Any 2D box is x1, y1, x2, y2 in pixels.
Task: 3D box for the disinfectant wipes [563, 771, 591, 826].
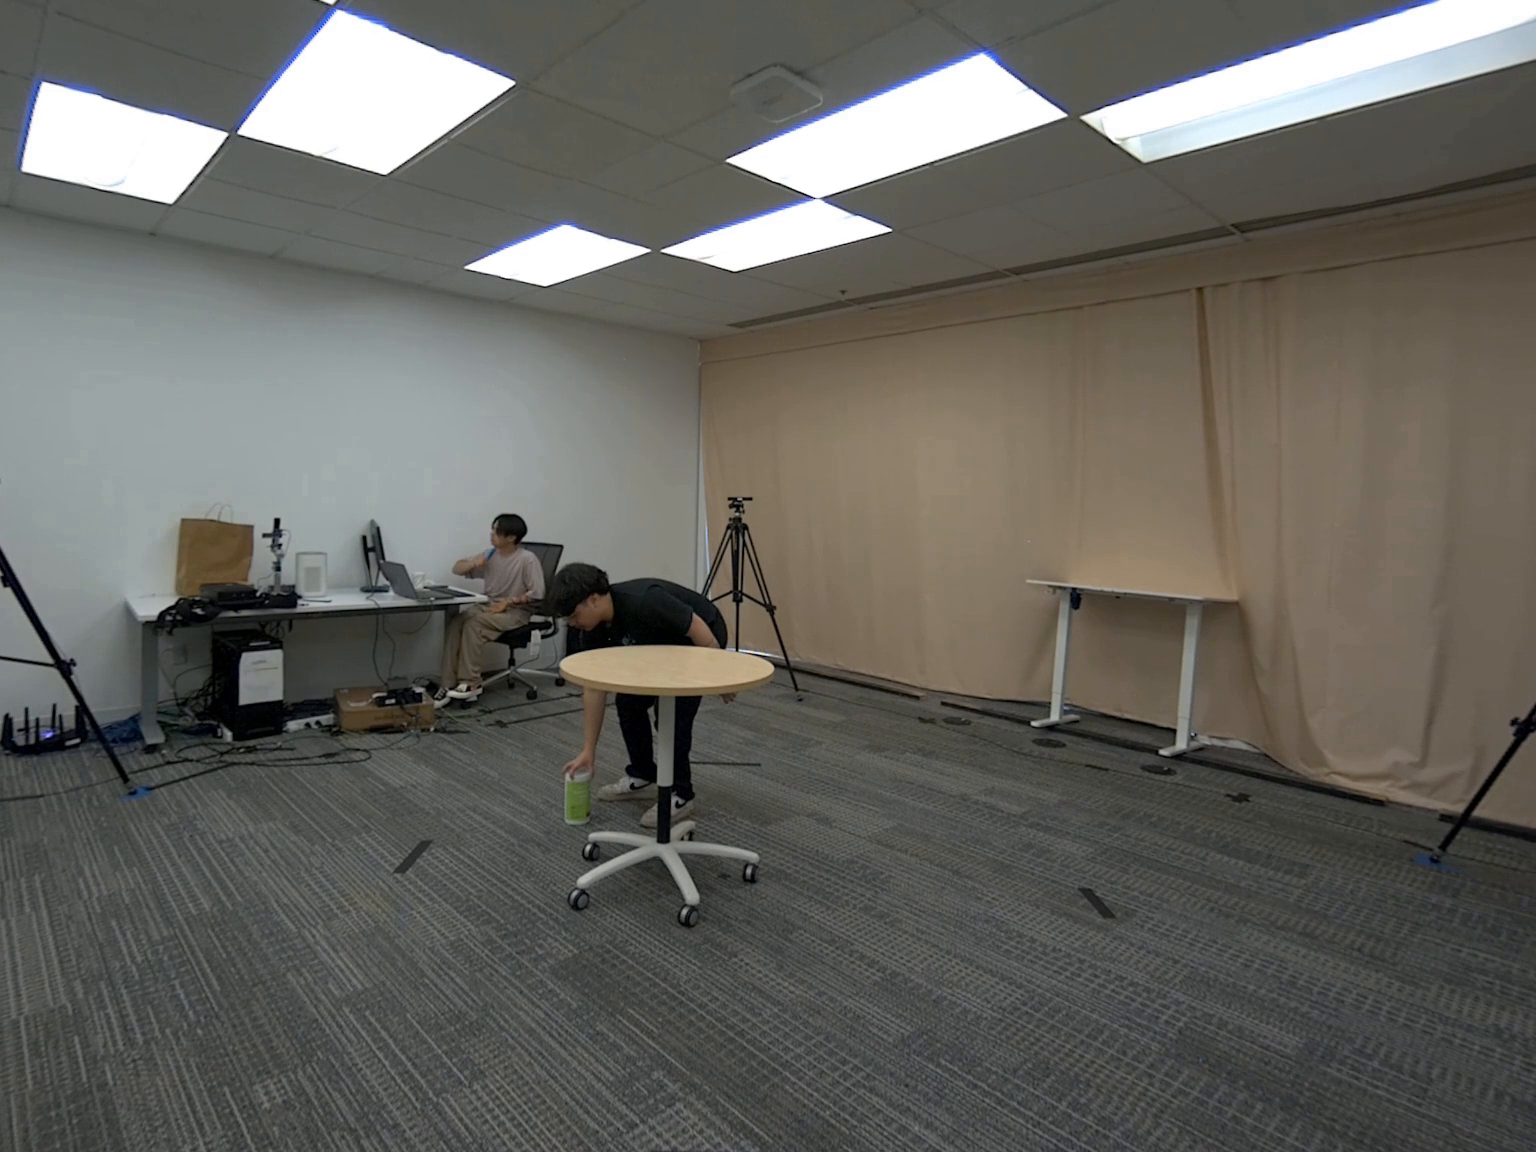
[{"bbox_3d":[-0.820,0.936,3.600,0.118,0.217,0.118,2,5,-2],"label":"disinfectant wipes"}]
